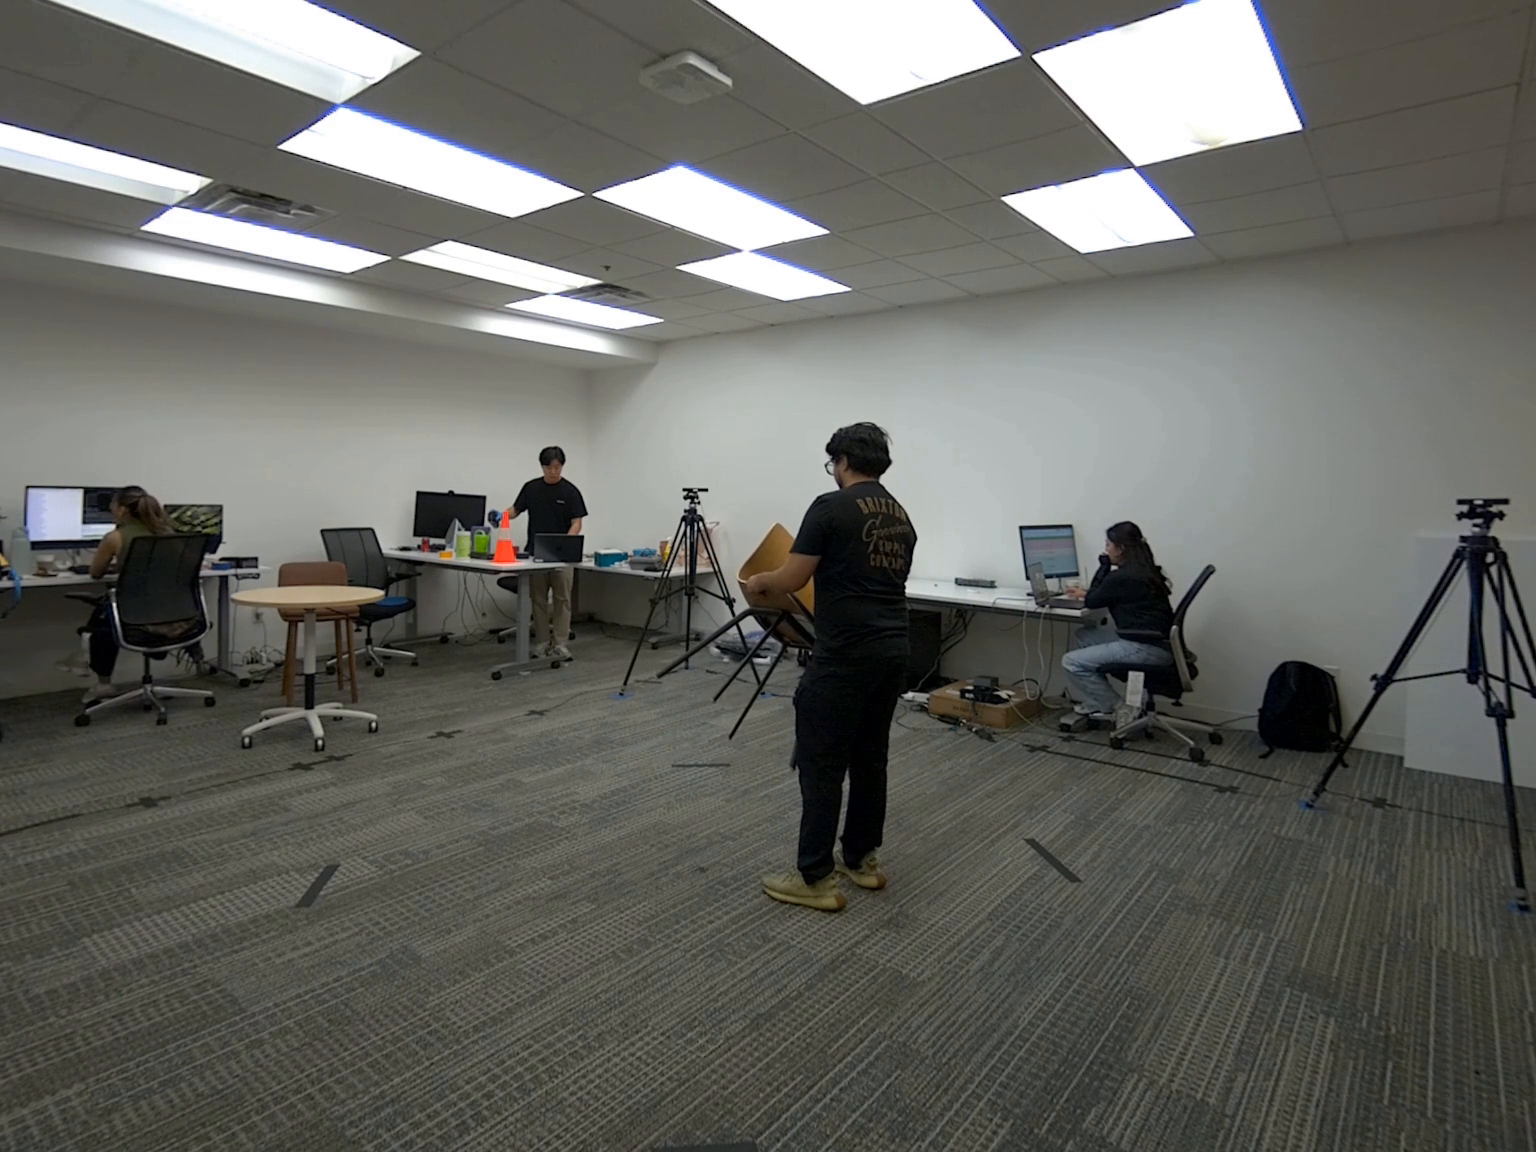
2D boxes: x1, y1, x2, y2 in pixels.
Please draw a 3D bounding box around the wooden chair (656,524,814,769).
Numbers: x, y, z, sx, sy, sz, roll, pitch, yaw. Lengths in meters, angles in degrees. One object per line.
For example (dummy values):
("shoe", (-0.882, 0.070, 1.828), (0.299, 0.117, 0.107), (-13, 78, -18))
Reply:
("wooden chair", (0.055, 0.211, 3.289), (0.462, 0.881, 0.538), (44, -24, -27))
